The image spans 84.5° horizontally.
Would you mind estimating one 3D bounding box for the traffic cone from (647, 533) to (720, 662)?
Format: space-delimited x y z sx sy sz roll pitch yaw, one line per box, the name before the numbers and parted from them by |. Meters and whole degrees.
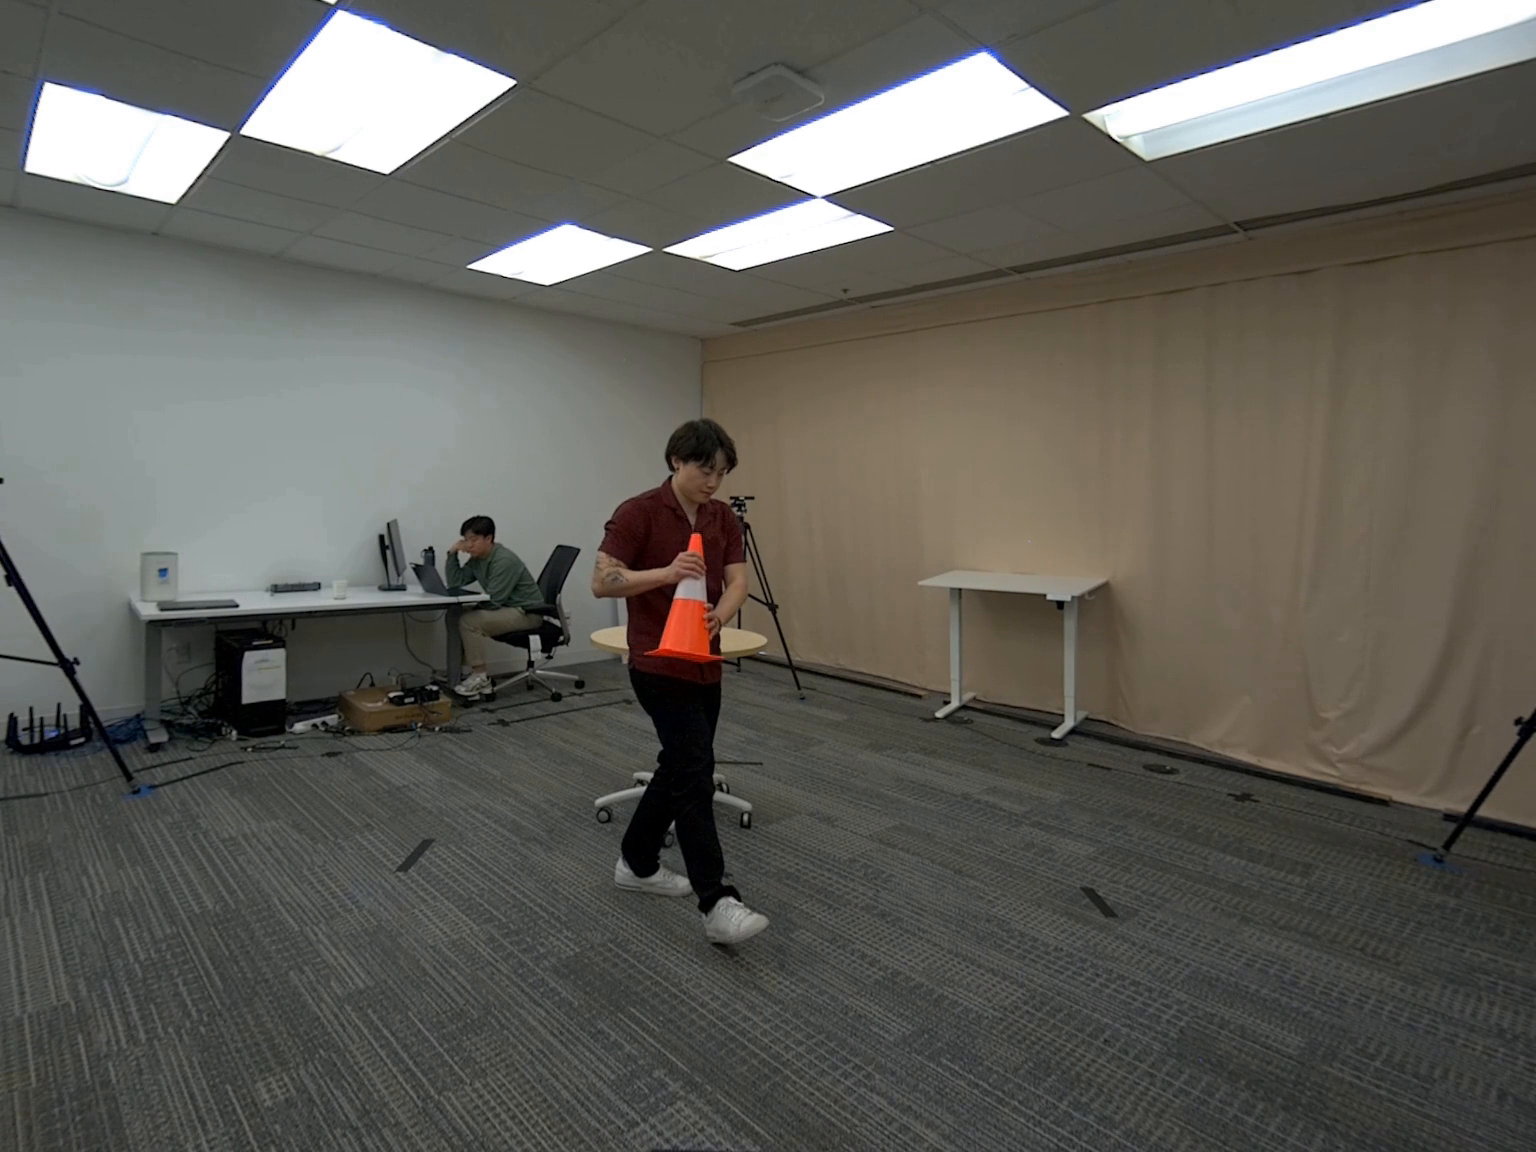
traffic cone | -0.248 0.061 2.588 0.203 0.387 0.204 8 -12 -4
